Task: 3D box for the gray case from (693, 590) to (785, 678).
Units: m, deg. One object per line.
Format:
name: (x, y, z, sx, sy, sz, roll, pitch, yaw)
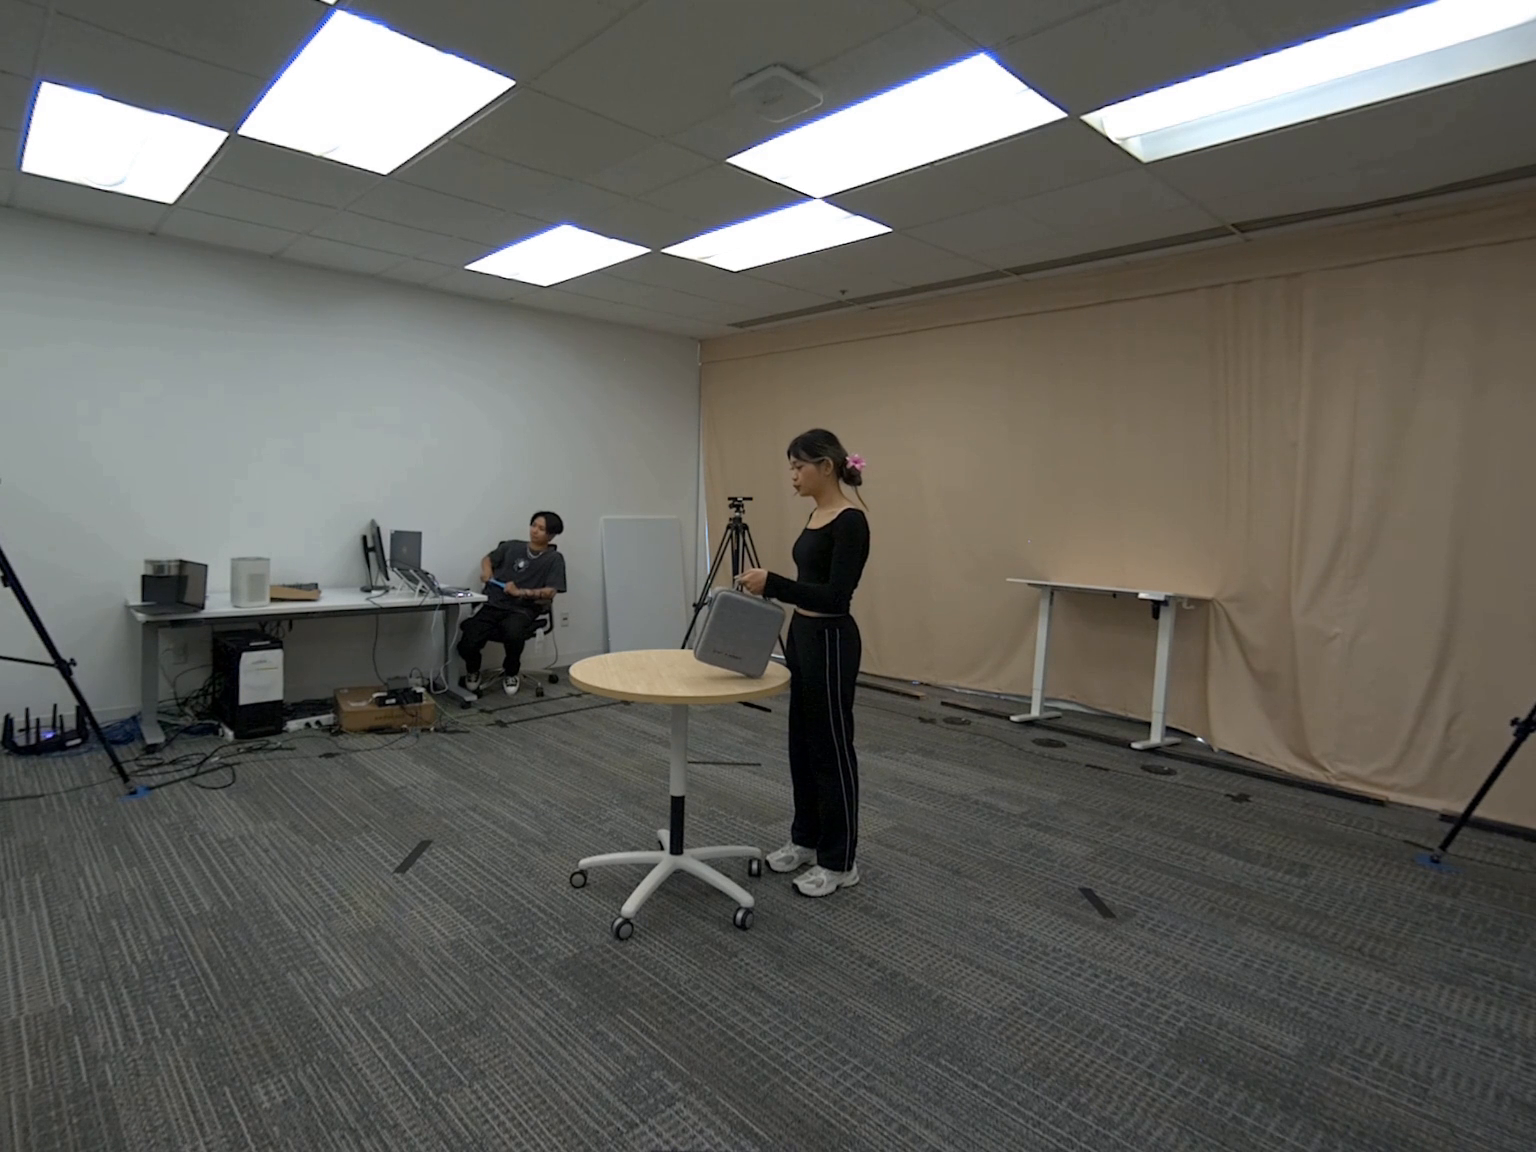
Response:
gray case: (-0.102, 0.181, 2.796, 0.253, 0.260, 0.106, 19, 8, -14)
